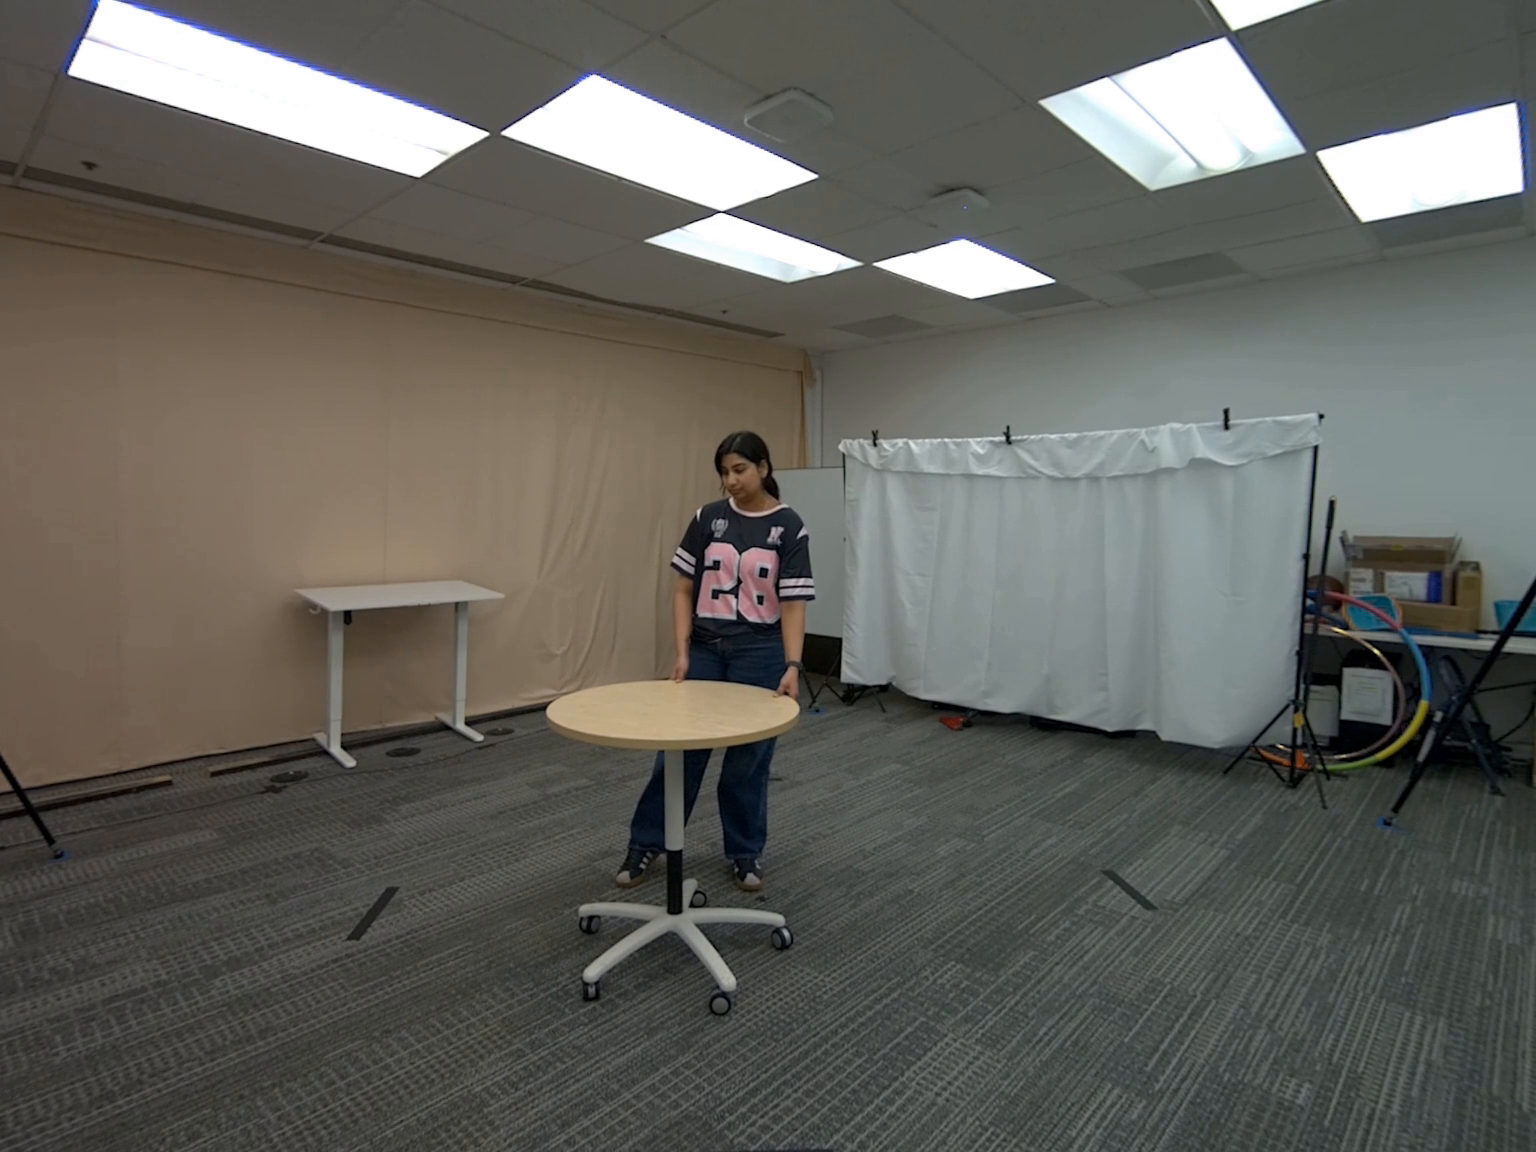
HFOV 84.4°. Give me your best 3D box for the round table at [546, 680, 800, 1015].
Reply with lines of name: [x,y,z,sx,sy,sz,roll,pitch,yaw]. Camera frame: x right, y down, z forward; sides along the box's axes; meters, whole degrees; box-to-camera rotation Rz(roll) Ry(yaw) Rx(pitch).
round table: [-0.293,0.791,2.589,0.763,0.792,0.766,0,3,-2]
